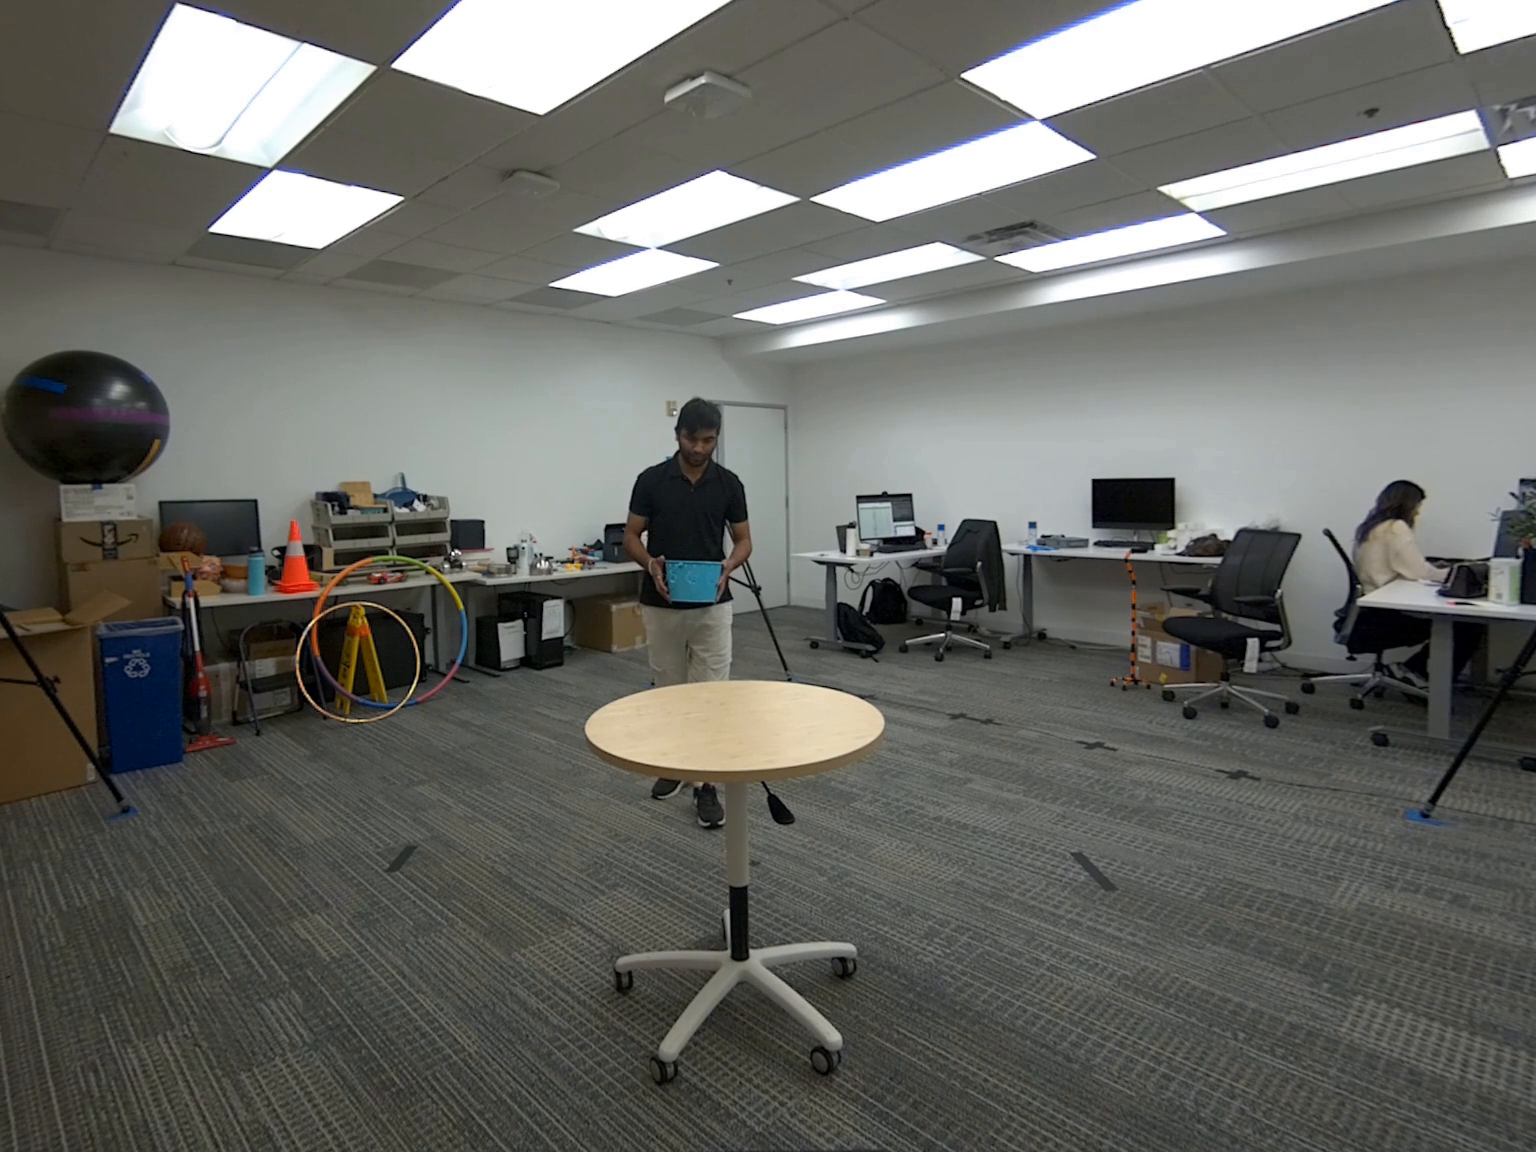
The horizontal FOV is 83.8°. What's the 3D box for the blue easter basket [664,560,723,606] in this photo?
[{"bbox_3d":[-0.301,0.018,3.381,0.243,0.156,0.244,1,1,-2],"label":"blue easter basket"}]
